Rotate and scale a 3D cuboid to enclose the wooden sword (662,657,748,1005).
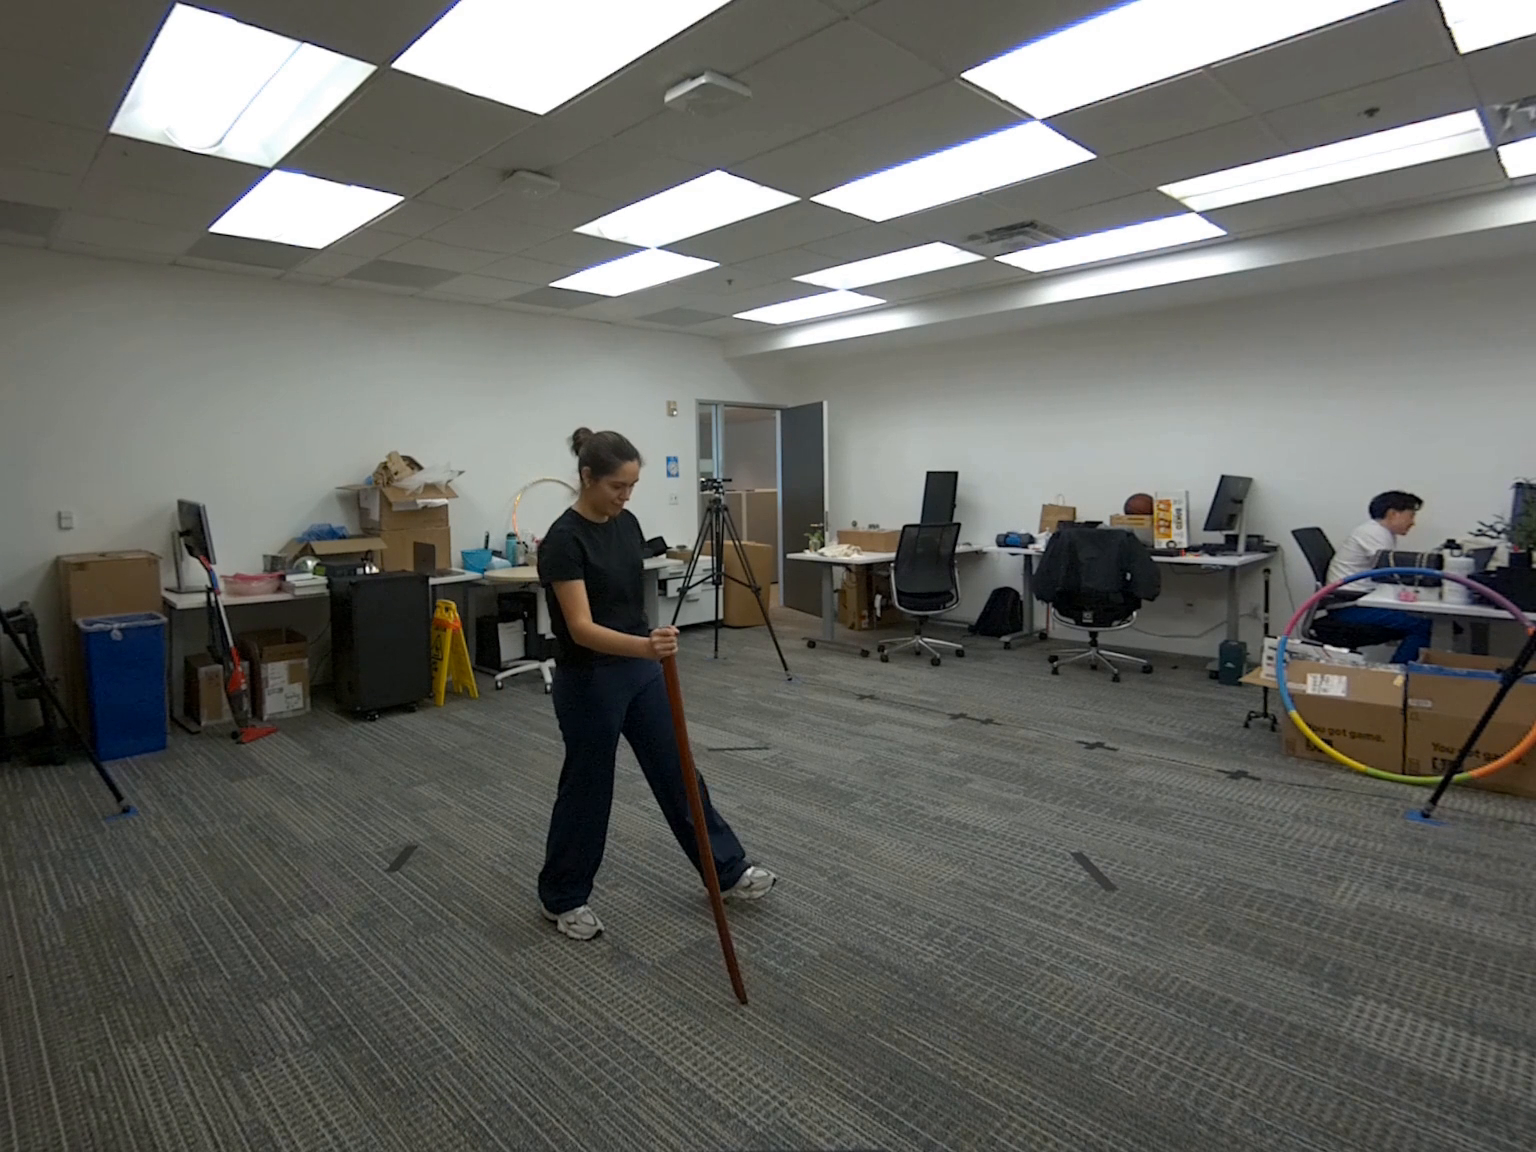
[{"bbox_3d":[-0.167,0.654,2.301,0.051,1.023,0.024,-12,2,4],"label":"wooden sword"}]
